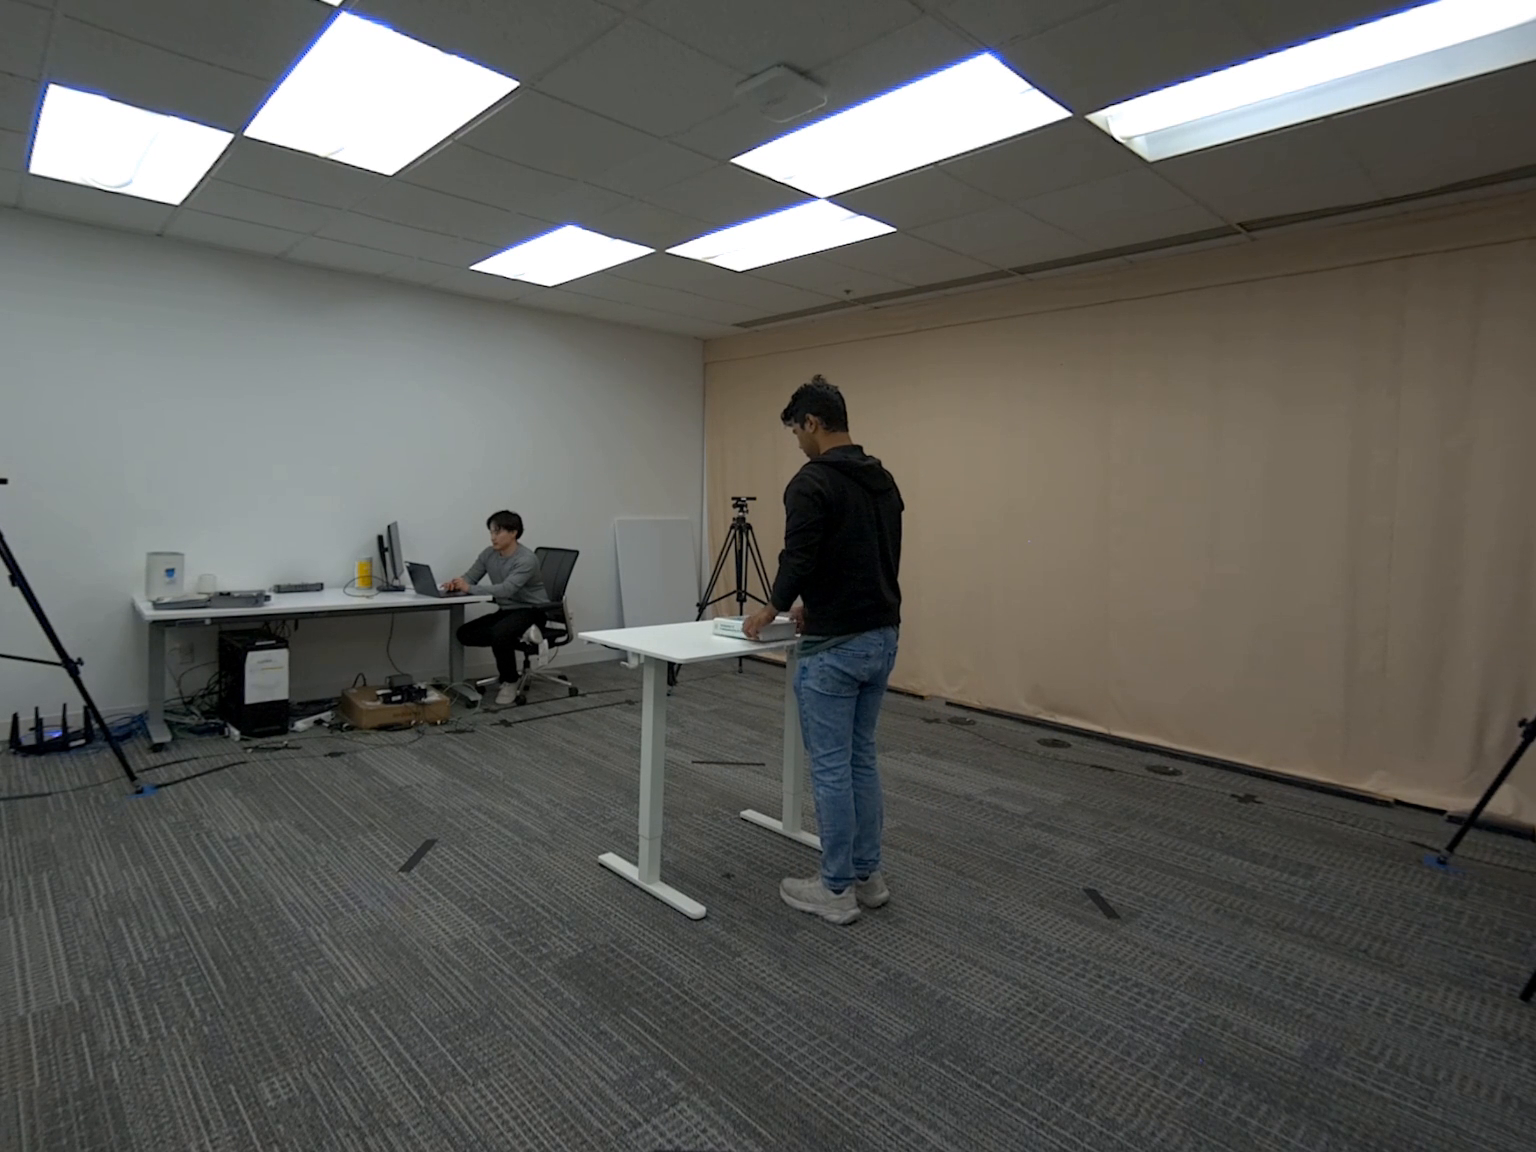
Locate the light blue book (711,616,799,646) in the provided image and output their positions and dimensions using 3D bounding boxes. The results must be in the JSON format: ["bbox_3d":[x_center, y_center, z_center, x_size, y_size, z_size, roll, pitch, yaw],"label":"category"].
[{"bbox_3d":[-0.053,0.197,3.115,0.187,0.059,0.268,-2,6,-42],"label":"light blue book"}]
